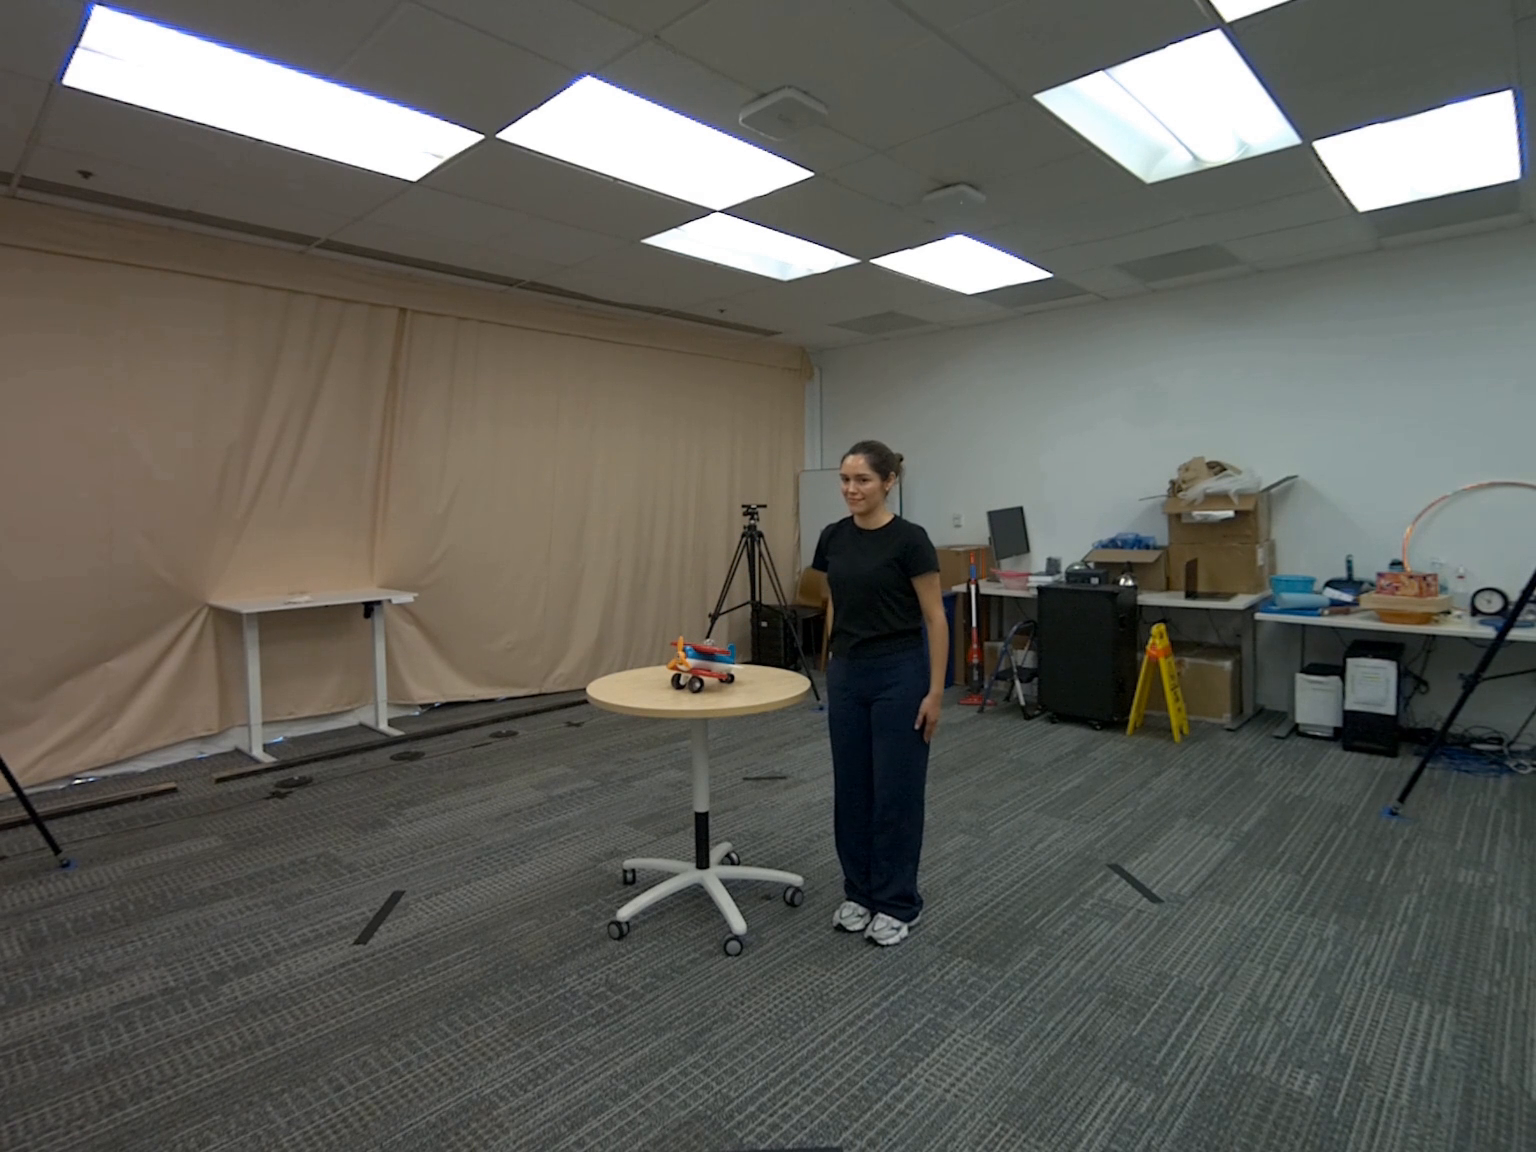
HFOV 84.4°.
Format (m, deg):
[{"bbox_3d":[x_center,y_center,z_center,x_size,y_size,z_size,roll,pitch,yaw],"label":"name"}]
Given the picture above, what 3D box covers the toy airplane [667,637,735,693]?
[{"bbox_3d":[-0.202,0.300,2.846,0.256,0.156,0.255,1,6,17],"label":"toy airplane"}]
